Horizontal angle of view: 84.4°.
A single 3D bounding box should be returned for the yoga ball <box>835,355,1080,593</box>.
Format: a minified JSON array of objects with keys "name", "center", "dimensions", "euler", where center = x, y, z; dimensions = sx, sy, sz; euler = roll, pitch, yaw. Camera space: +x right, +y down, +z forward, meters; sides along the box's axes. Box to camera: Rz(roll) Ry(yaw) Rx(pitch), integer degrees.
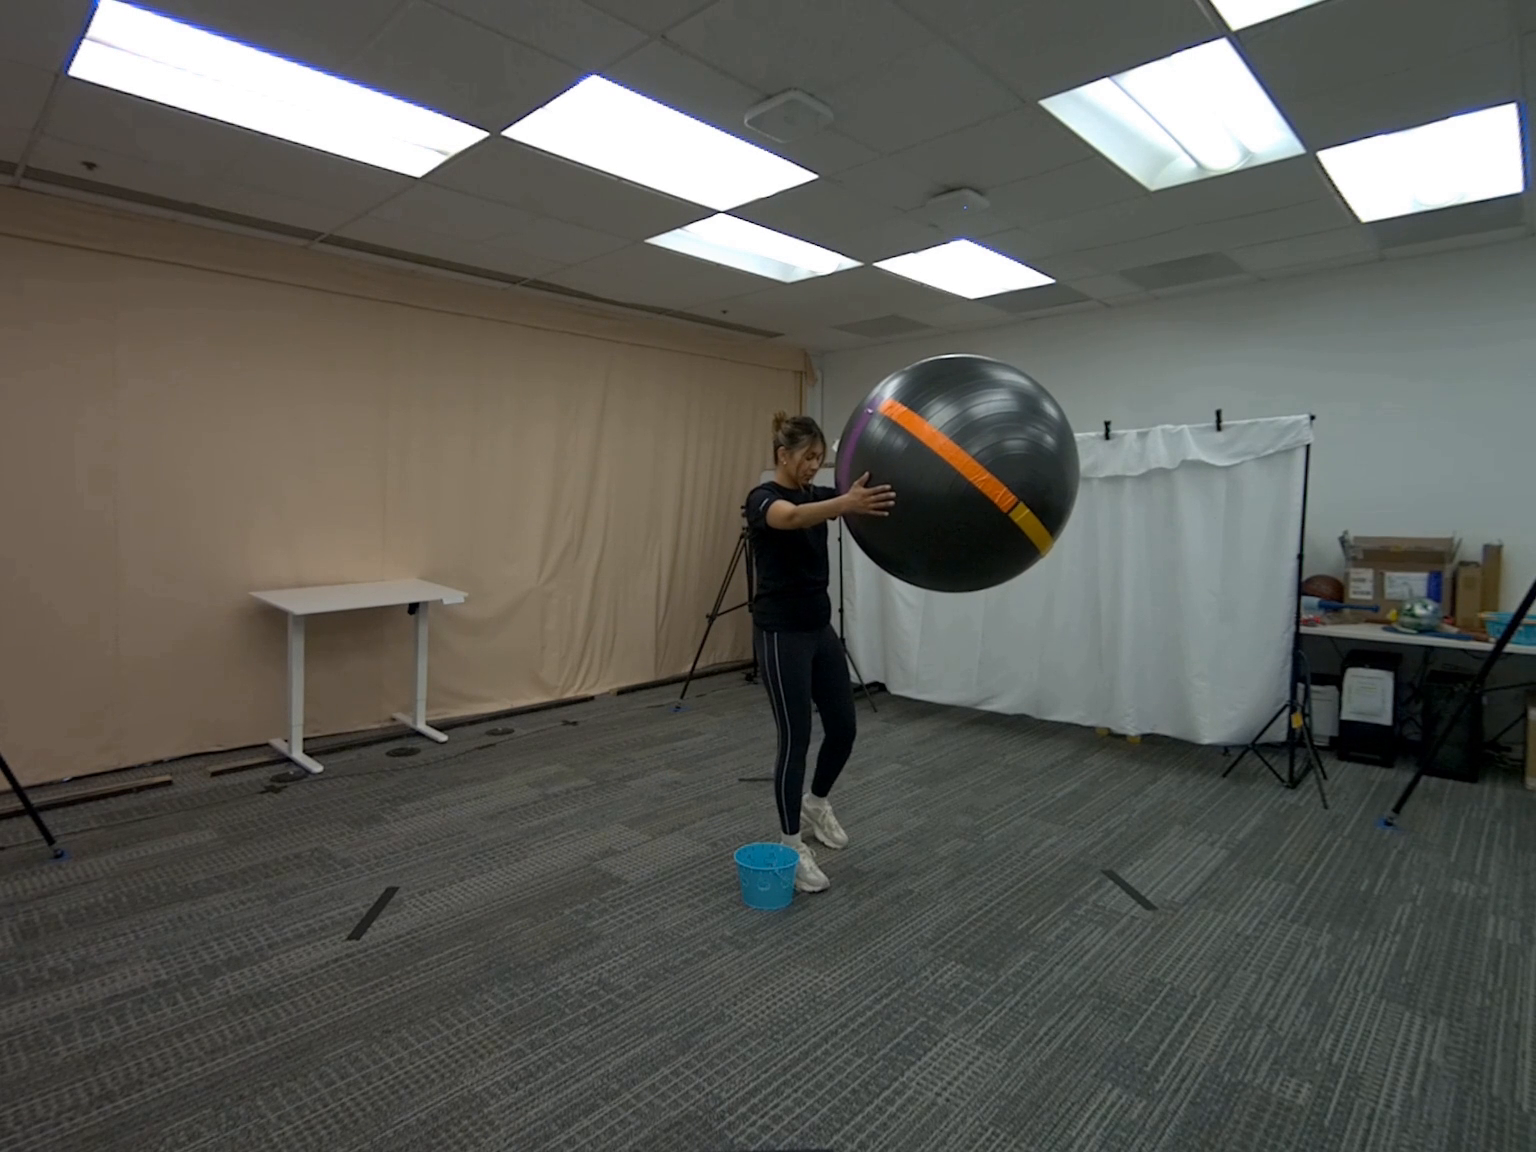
[{"name":"yoga ball","center":[0.603,-0.315,2.719],"dimensions":[0.757,0.756,0.760],"euler":[0,4,-2]}]
